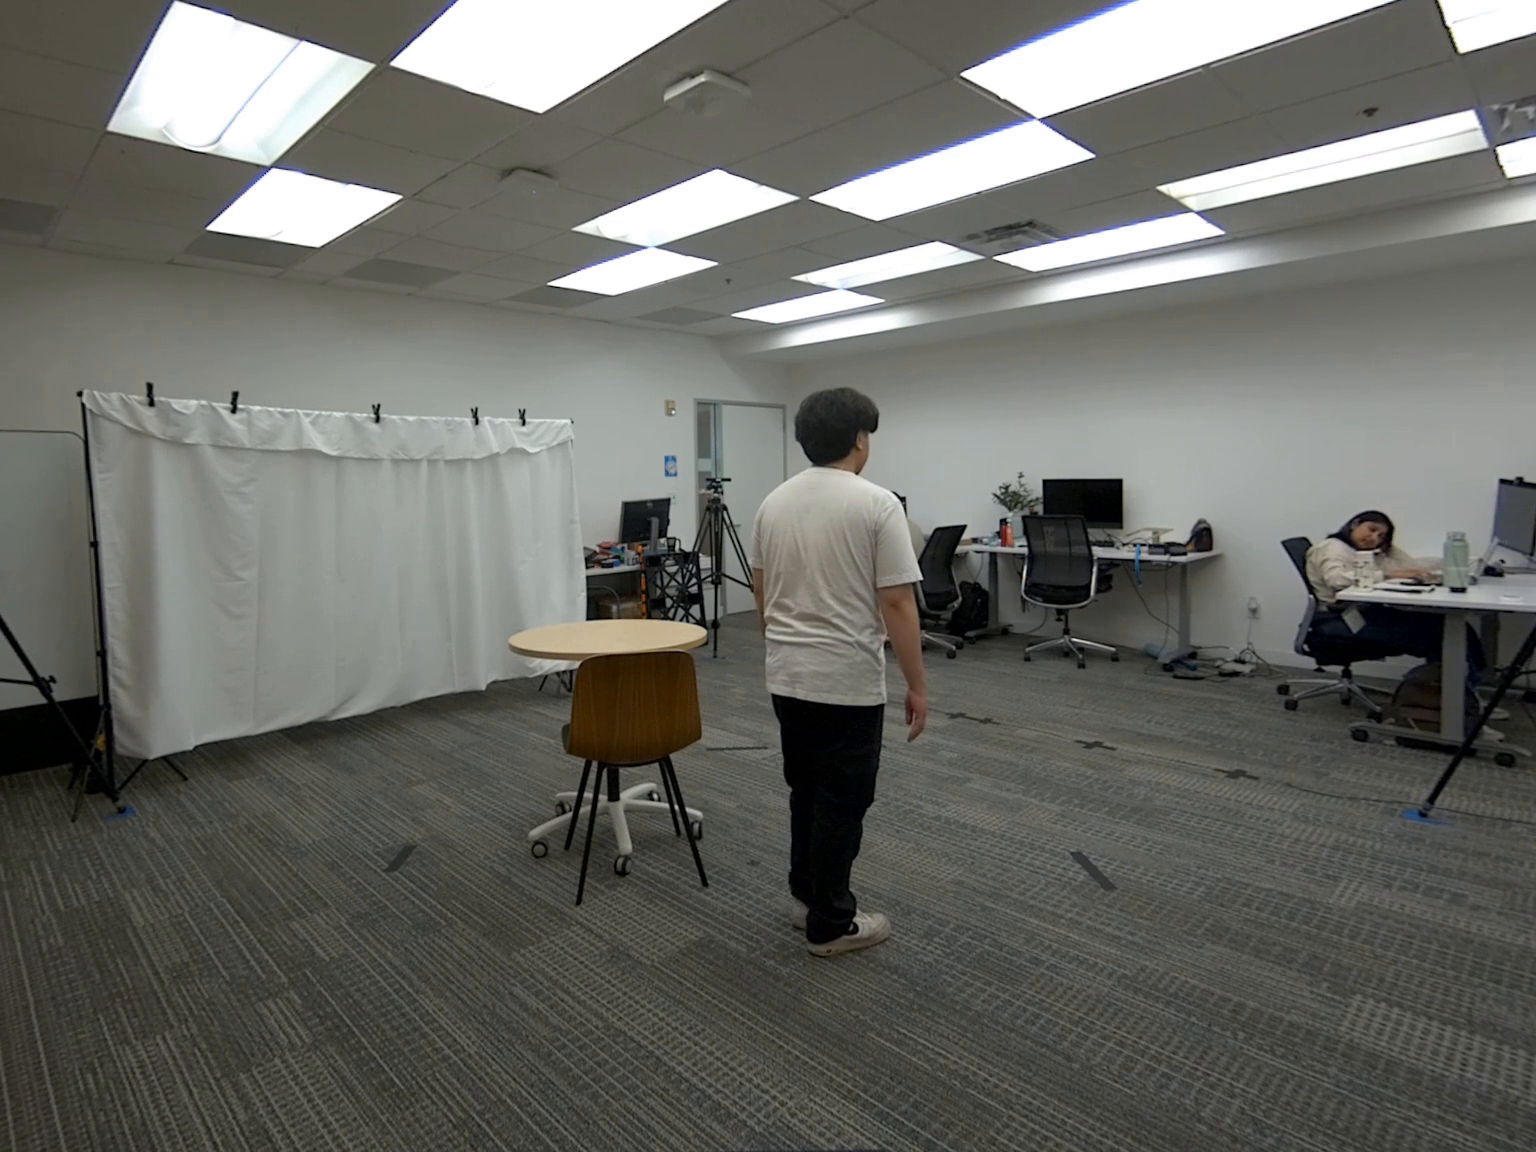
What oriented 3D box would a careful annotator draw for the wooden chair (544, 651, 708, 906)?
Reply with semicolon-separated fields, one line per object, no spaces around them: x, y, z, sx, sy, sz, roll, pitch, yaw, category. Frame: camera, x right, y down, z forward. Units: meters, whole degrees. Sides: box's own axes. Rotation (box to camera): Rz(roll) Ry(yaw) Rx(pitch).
-0.491;0.628;3.060;0.471;0.870;0.535;-3;9;-17;wooden chair
